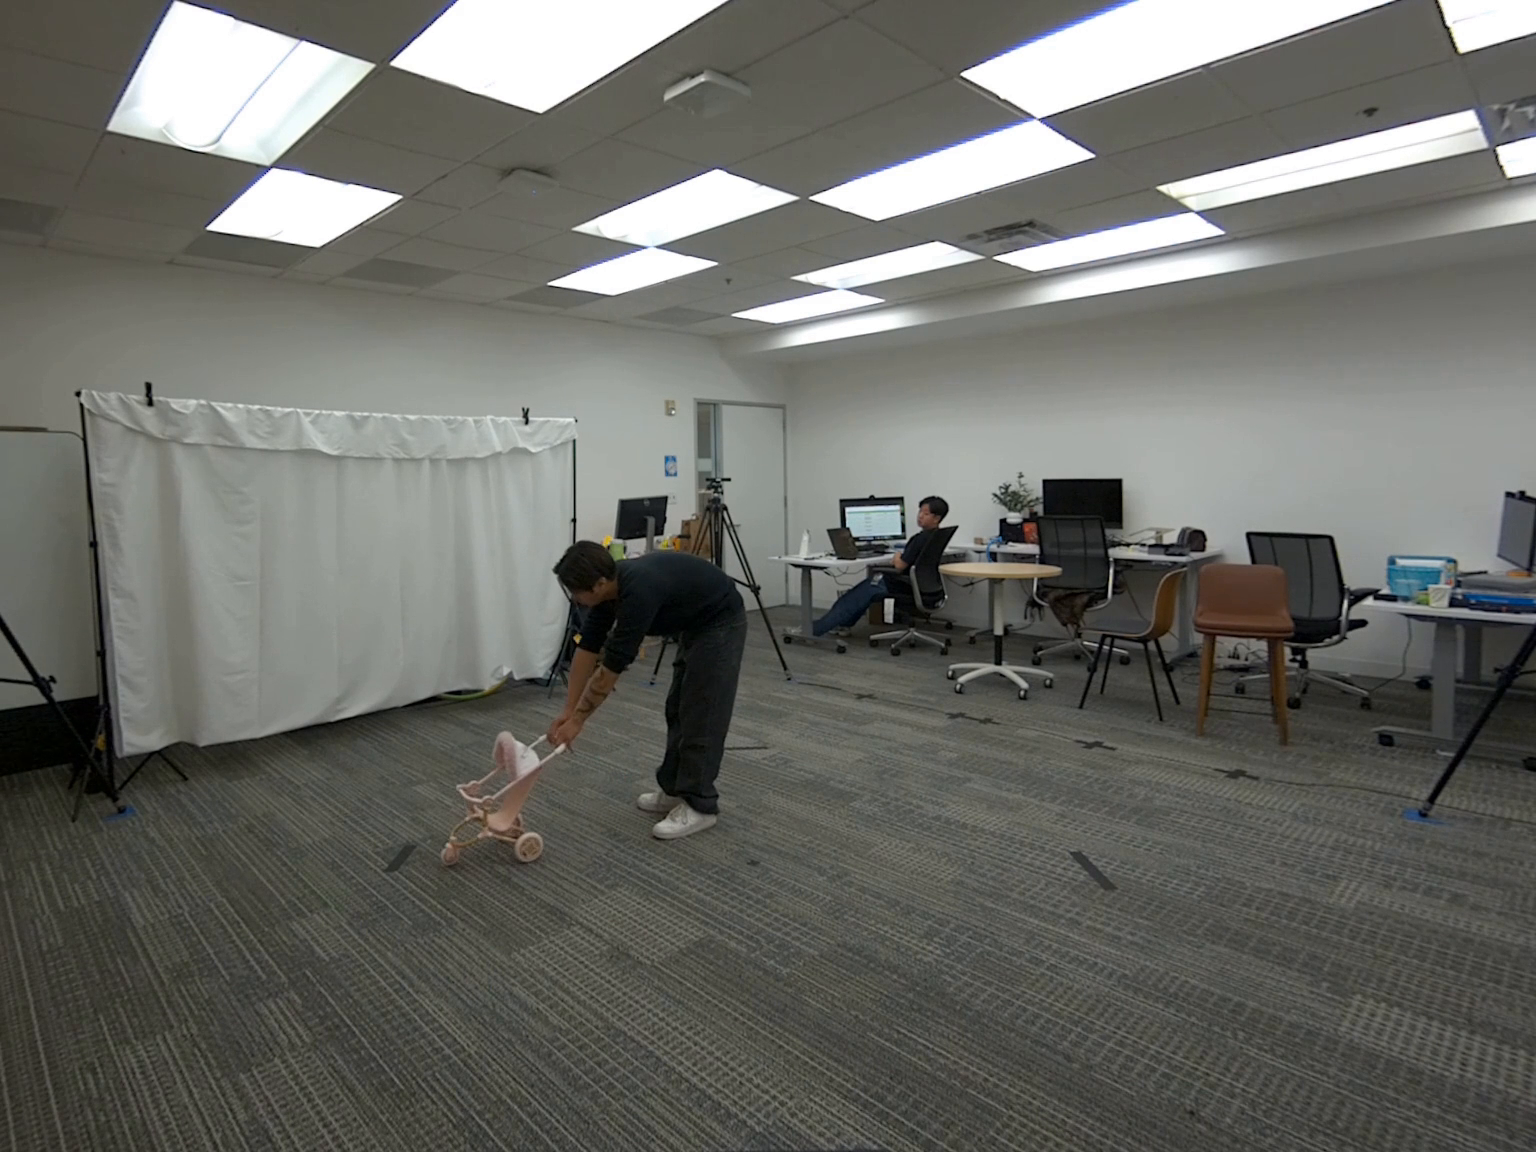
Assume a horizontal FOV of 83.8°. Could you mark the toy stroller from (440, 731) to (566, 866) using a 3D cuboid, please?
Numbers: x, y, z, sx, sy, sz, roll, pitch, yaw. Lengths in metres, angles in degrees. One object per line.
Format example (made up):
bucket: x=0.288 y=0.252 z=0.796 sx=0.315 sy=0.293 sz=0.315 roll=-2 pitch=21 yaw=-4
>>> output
toy stroller: x=-0.993 y=0.823 z=3.219 sx=0.331 sy=0.537 sz=0.289 roll=17 pitch=-6 yaw=-28
